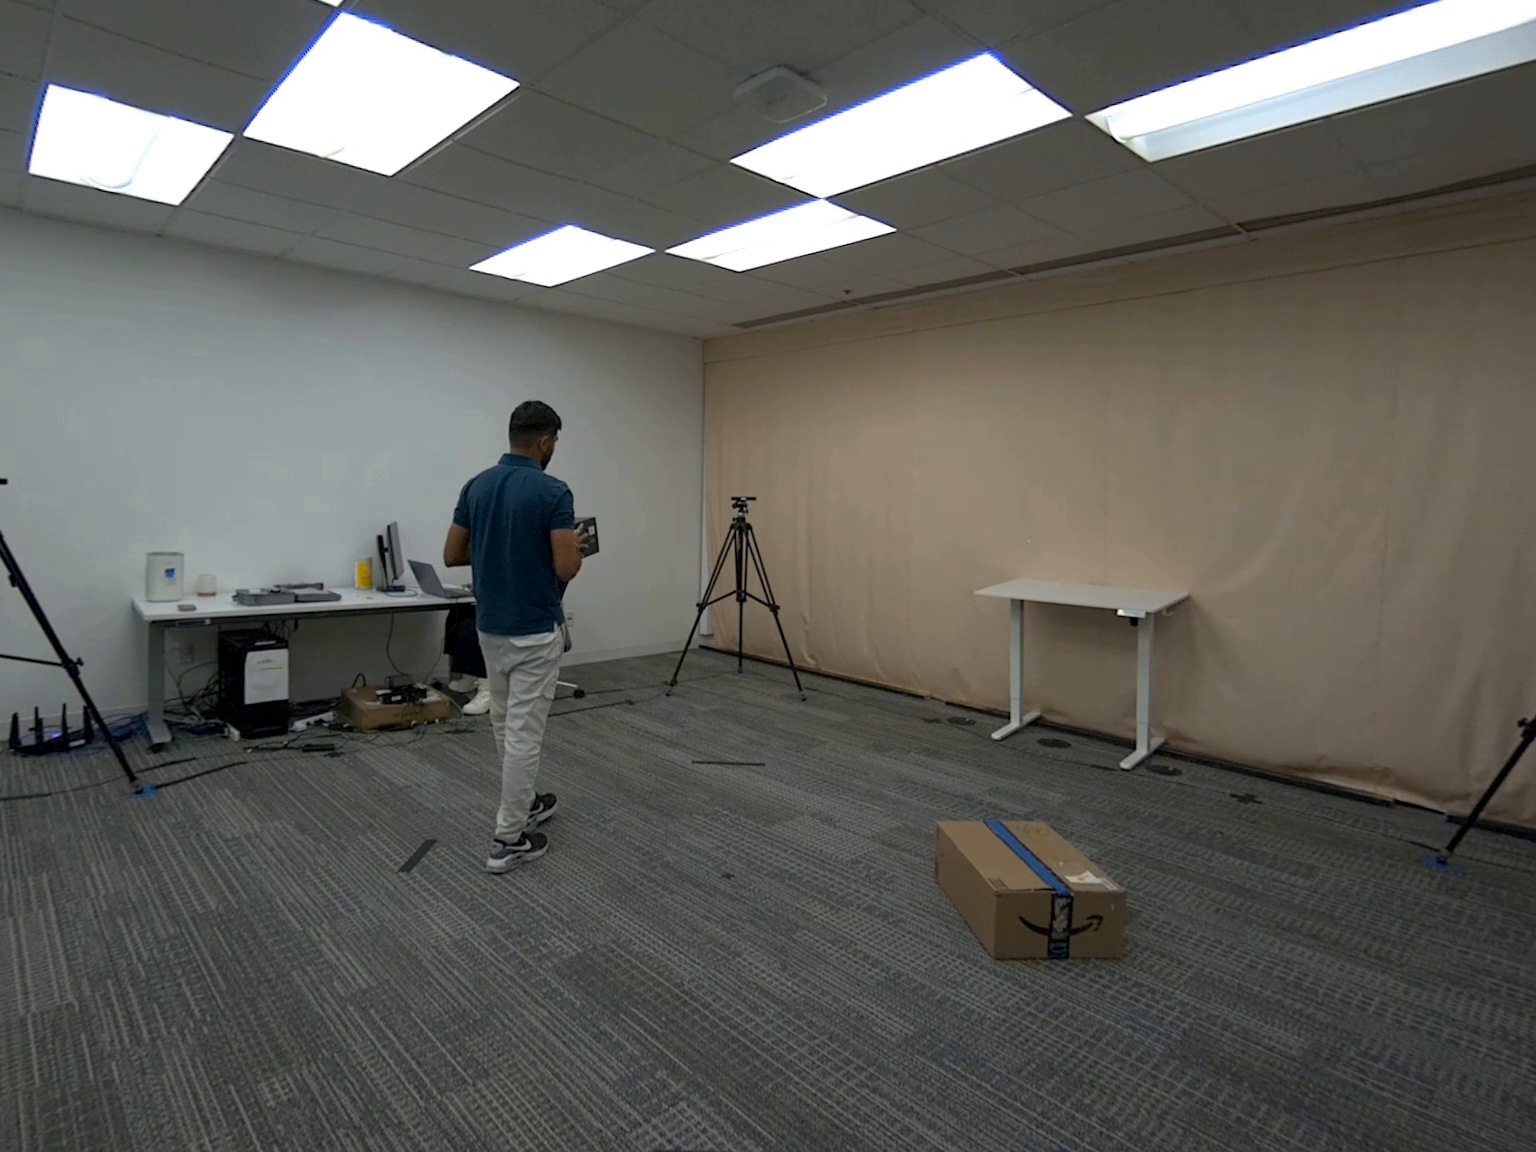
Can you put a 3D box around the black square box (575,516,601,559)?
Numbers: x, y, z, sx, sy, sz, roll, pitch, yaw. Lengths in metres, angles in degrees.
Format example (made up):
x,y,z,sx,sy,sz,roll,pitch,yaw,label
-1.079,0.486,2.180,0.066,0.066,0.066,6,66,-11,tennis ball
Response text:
x,y,z,sx,sy,sz,roll,pitch,yaw,label
-0.860,-0.157,3.529,0.232,0.155,0.215,0,9,22,black square box
